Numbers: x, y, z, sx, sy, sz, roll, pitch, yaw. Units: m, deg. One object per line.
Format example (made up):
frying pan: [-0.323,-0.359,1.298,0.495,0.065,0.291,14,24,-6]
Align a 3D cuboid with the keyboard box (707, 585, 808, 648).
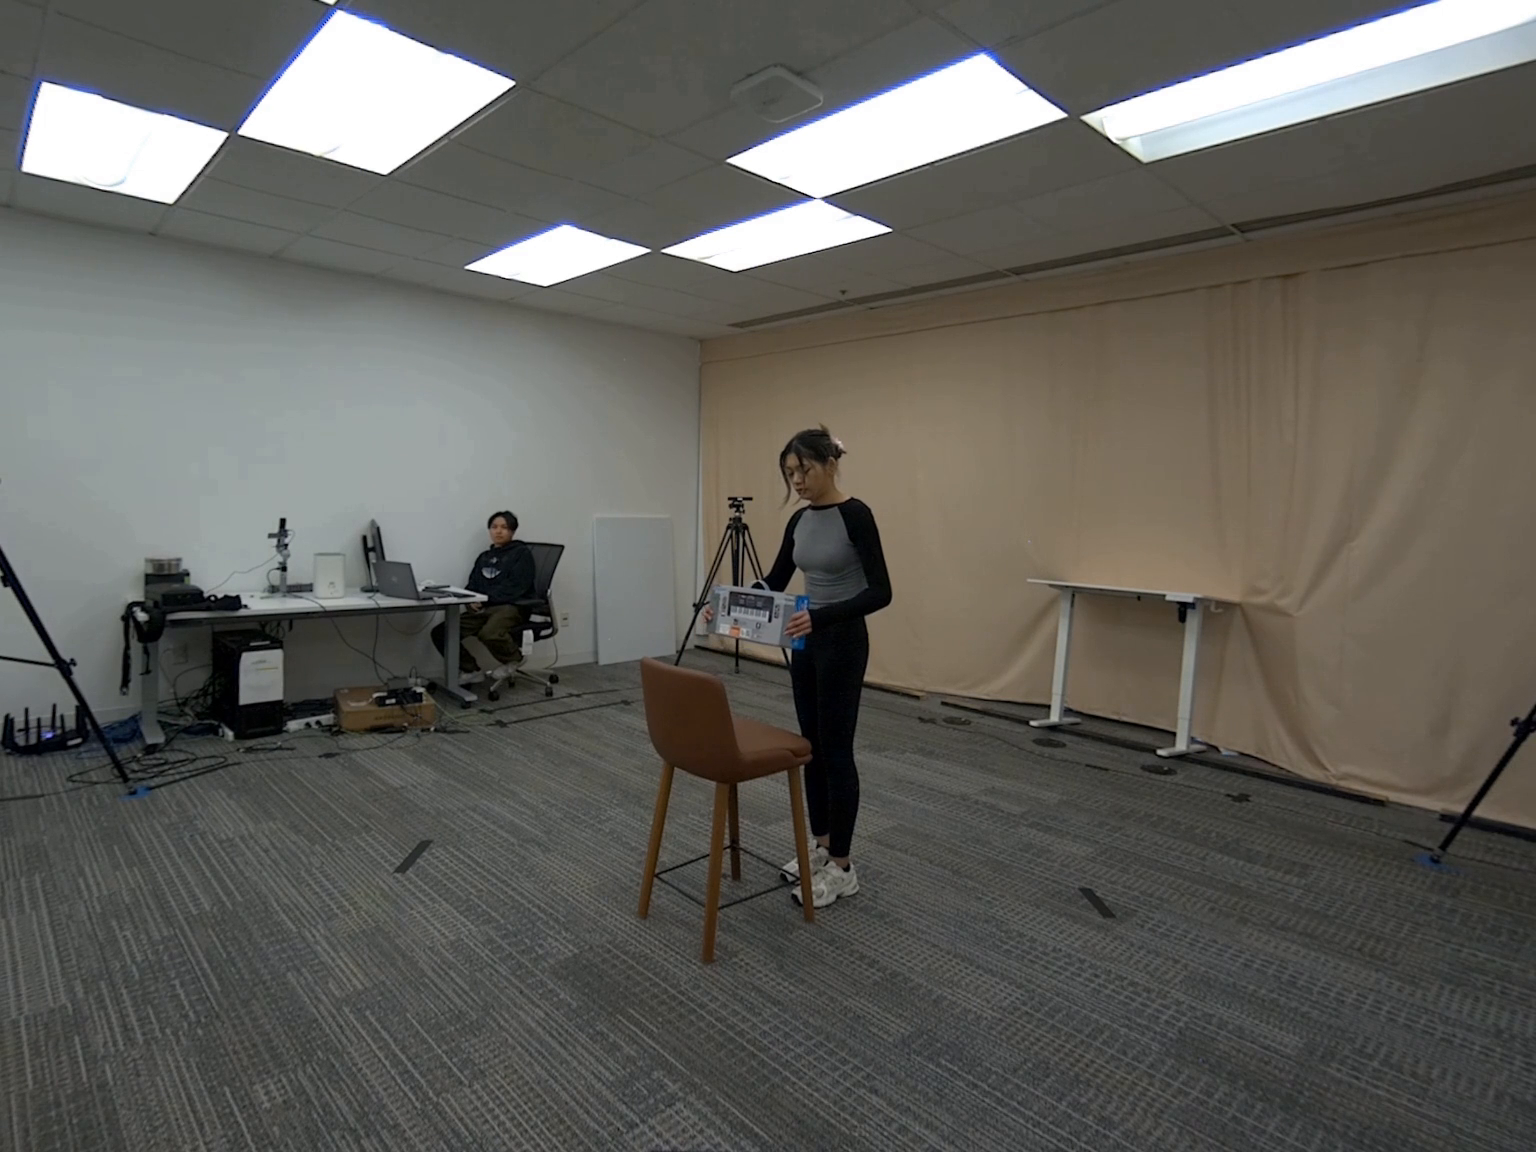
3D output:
keyboard box: [-0.039,0.135,2.823,0.057,0.176,0.448,10,-3,-41]
